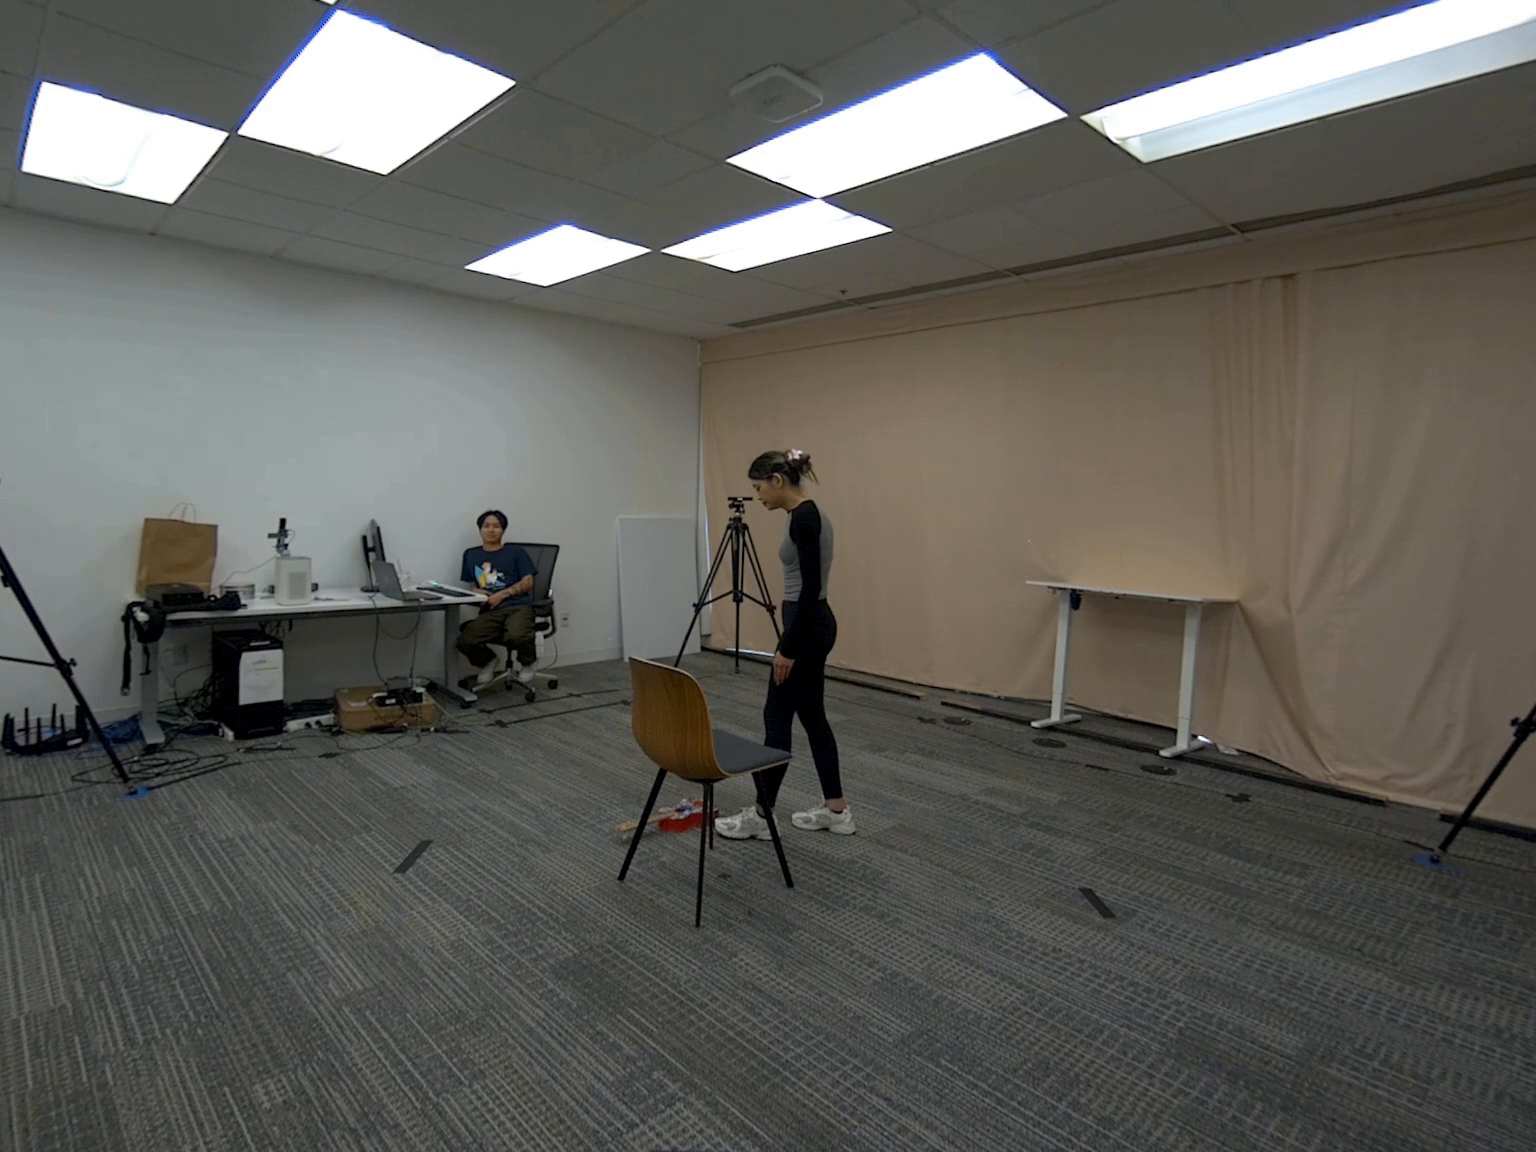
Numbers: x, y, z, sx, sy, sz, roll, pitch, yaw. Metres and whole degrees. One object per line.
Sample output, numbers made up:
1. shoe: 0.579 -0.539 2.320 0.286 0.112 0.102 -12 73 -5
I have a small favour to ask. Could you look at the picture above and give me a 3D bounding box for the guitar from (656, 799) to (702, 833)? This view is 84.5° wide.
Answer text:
1. guitar: -0.447 1.024 3.561 0.487 0.070 0.198 -2 5 -36
